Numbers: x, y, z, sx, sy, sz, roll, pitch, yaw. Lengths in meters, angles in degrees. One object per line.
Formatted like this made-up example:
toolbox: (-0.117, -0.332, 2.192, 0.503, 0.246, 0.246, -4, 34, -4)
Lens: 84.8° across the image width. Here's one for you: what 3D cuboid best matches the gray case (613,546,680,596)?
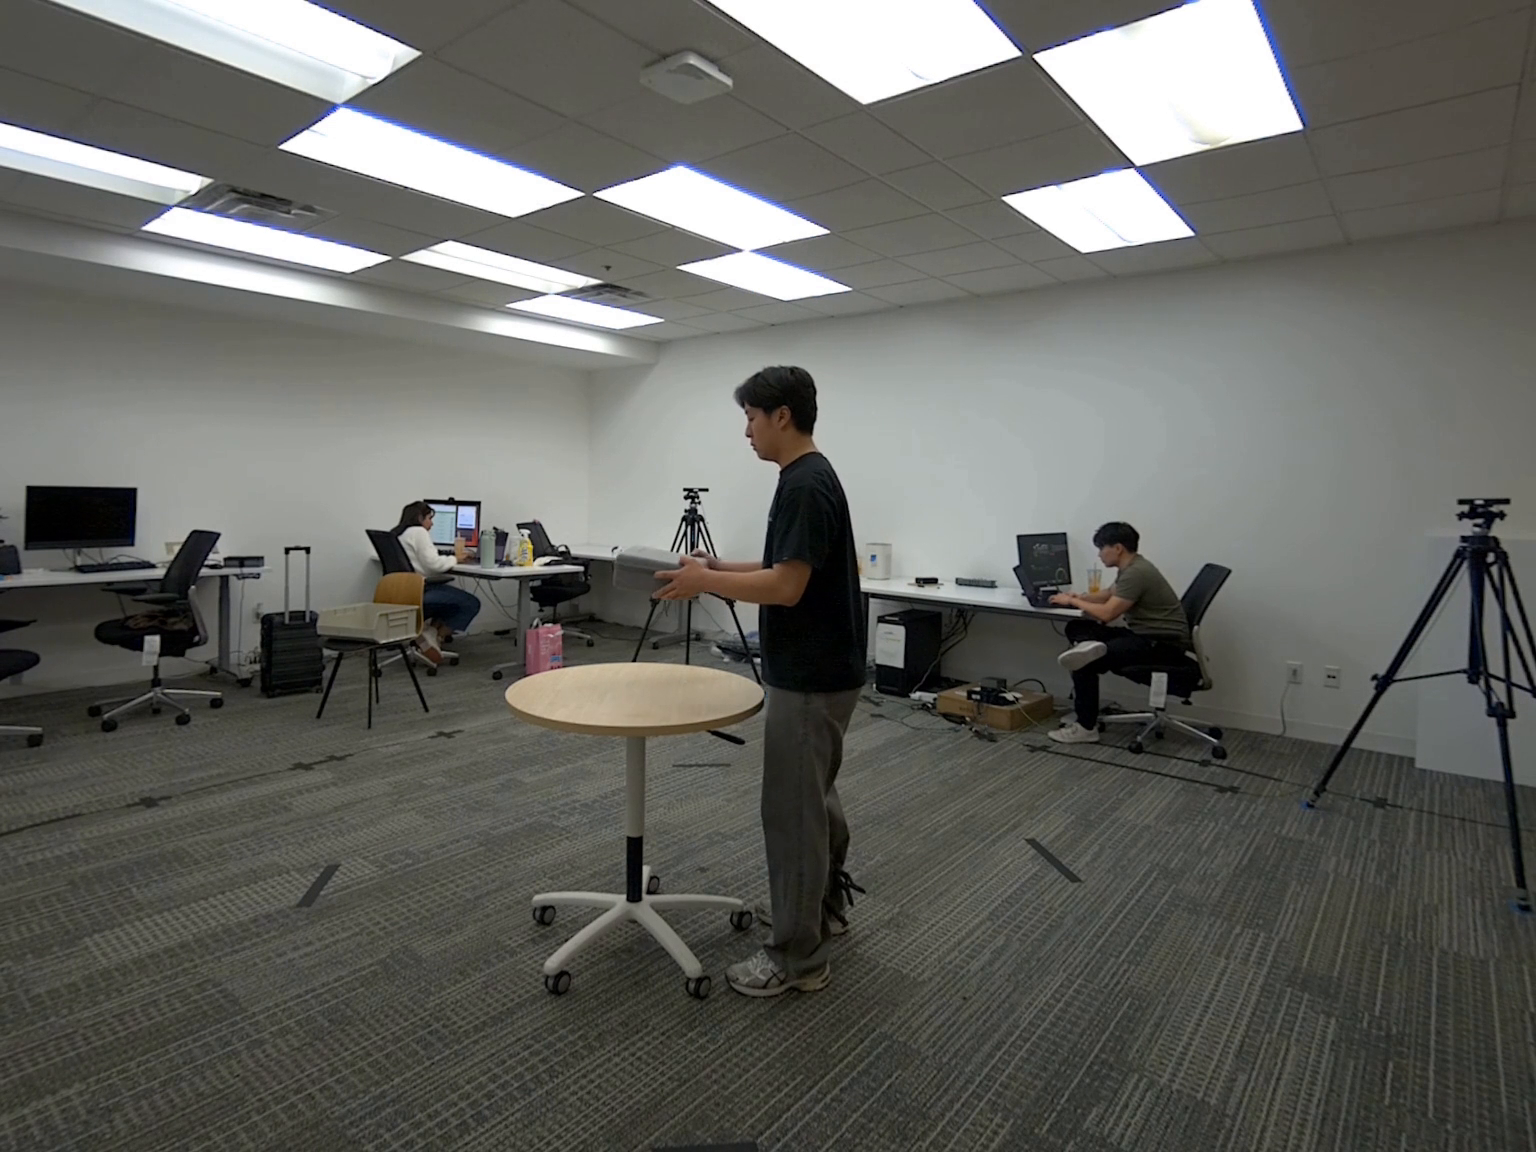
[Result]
gray case: (-0.306, -0.018, 2.541, 0.290, 0.102, 0.262, 7, 8, 7)
